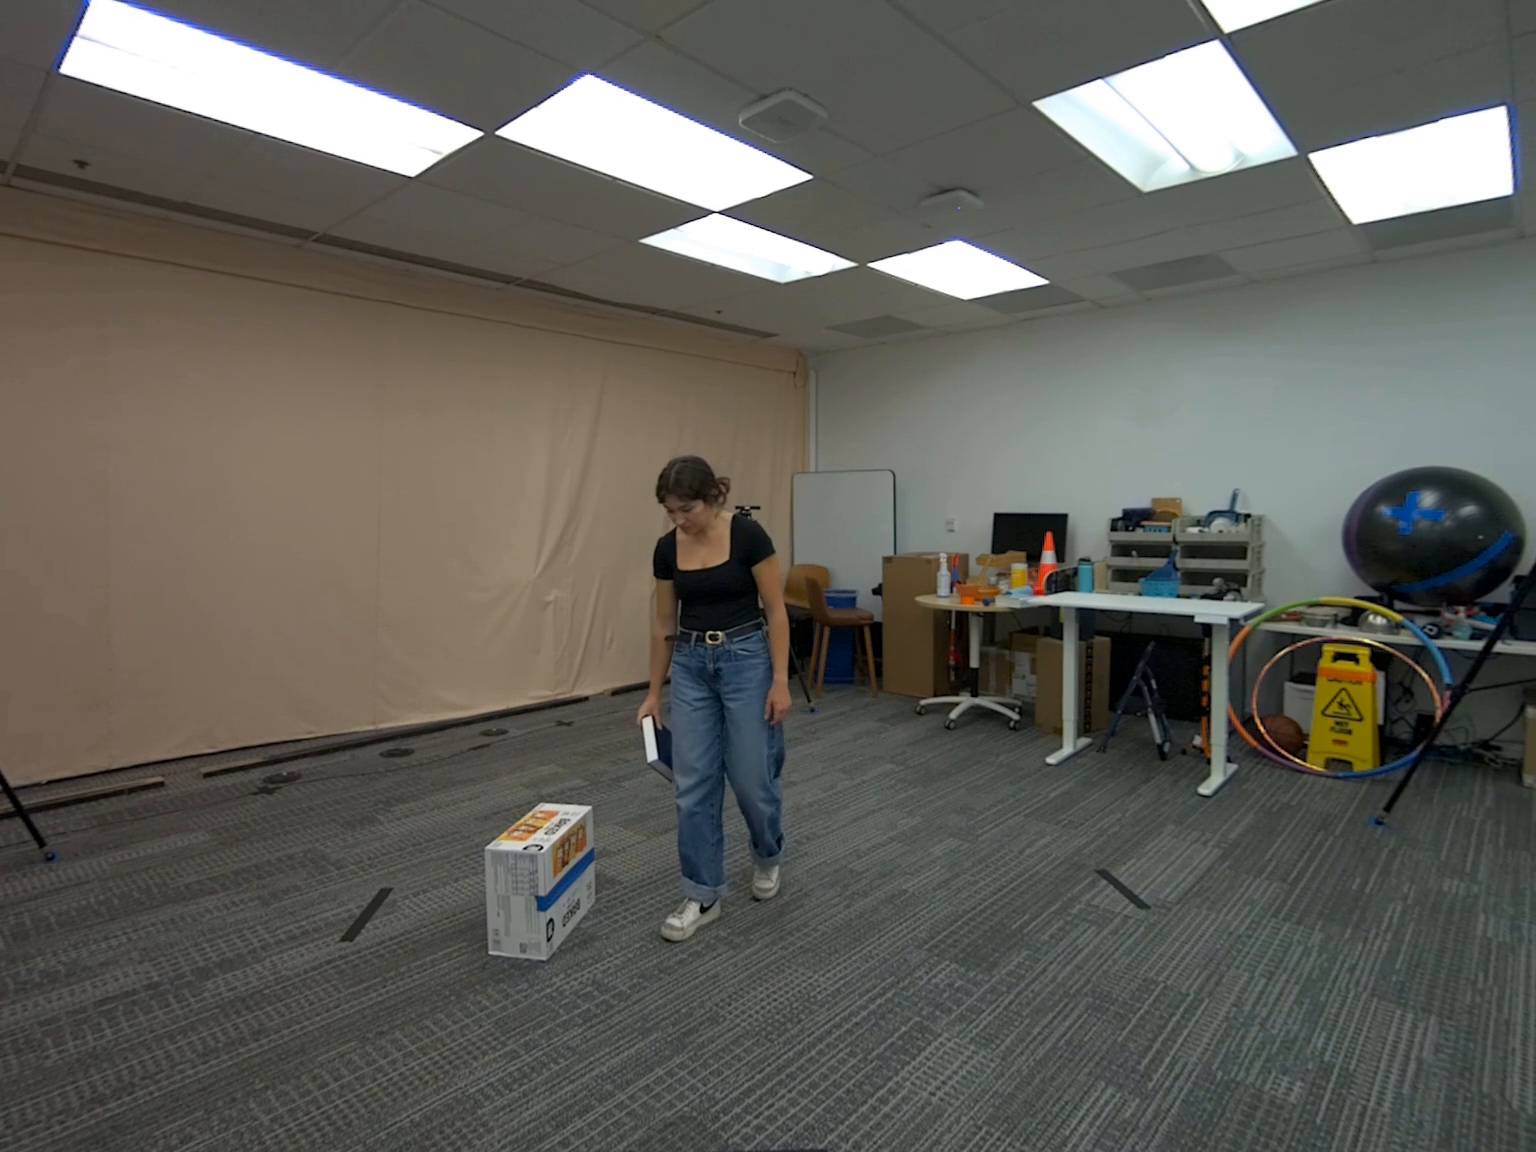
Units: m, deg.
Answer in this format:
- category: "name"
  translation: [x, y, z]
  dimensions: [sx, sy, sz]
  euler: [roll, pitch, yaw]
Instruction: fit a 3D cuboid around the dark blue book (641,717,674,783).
- category: "dark blue book"
  translation: [-0.360, 0.600, 2.896]
  dimensions: [0.045, 0.167, 0.238]
  euler: [-18, -33, 7]
